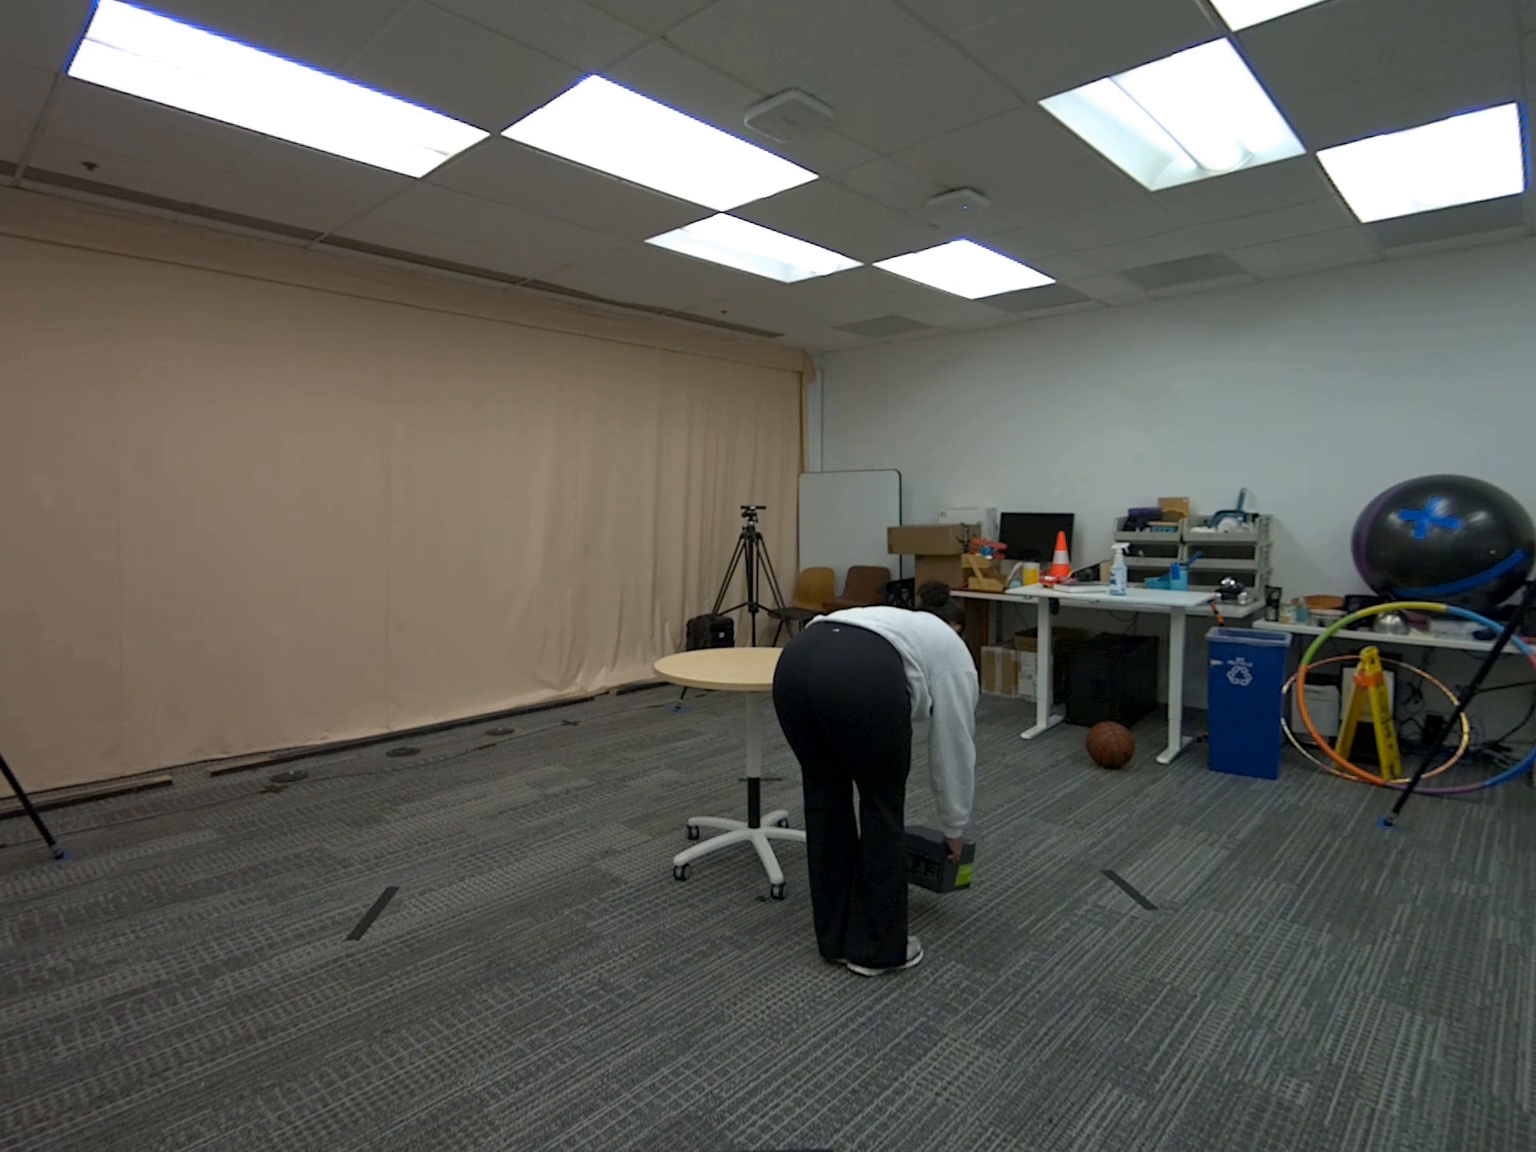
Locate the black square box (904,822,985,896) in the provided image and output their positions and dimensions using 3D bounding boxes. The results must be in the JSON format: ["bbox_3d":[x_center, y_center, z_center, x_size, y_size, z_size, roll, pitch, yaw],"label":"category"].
[{"bbox_3d":[0.567,0.949,2.864,0.224,0.156,0.220,7,-6,40],"label":"black square box"}]
